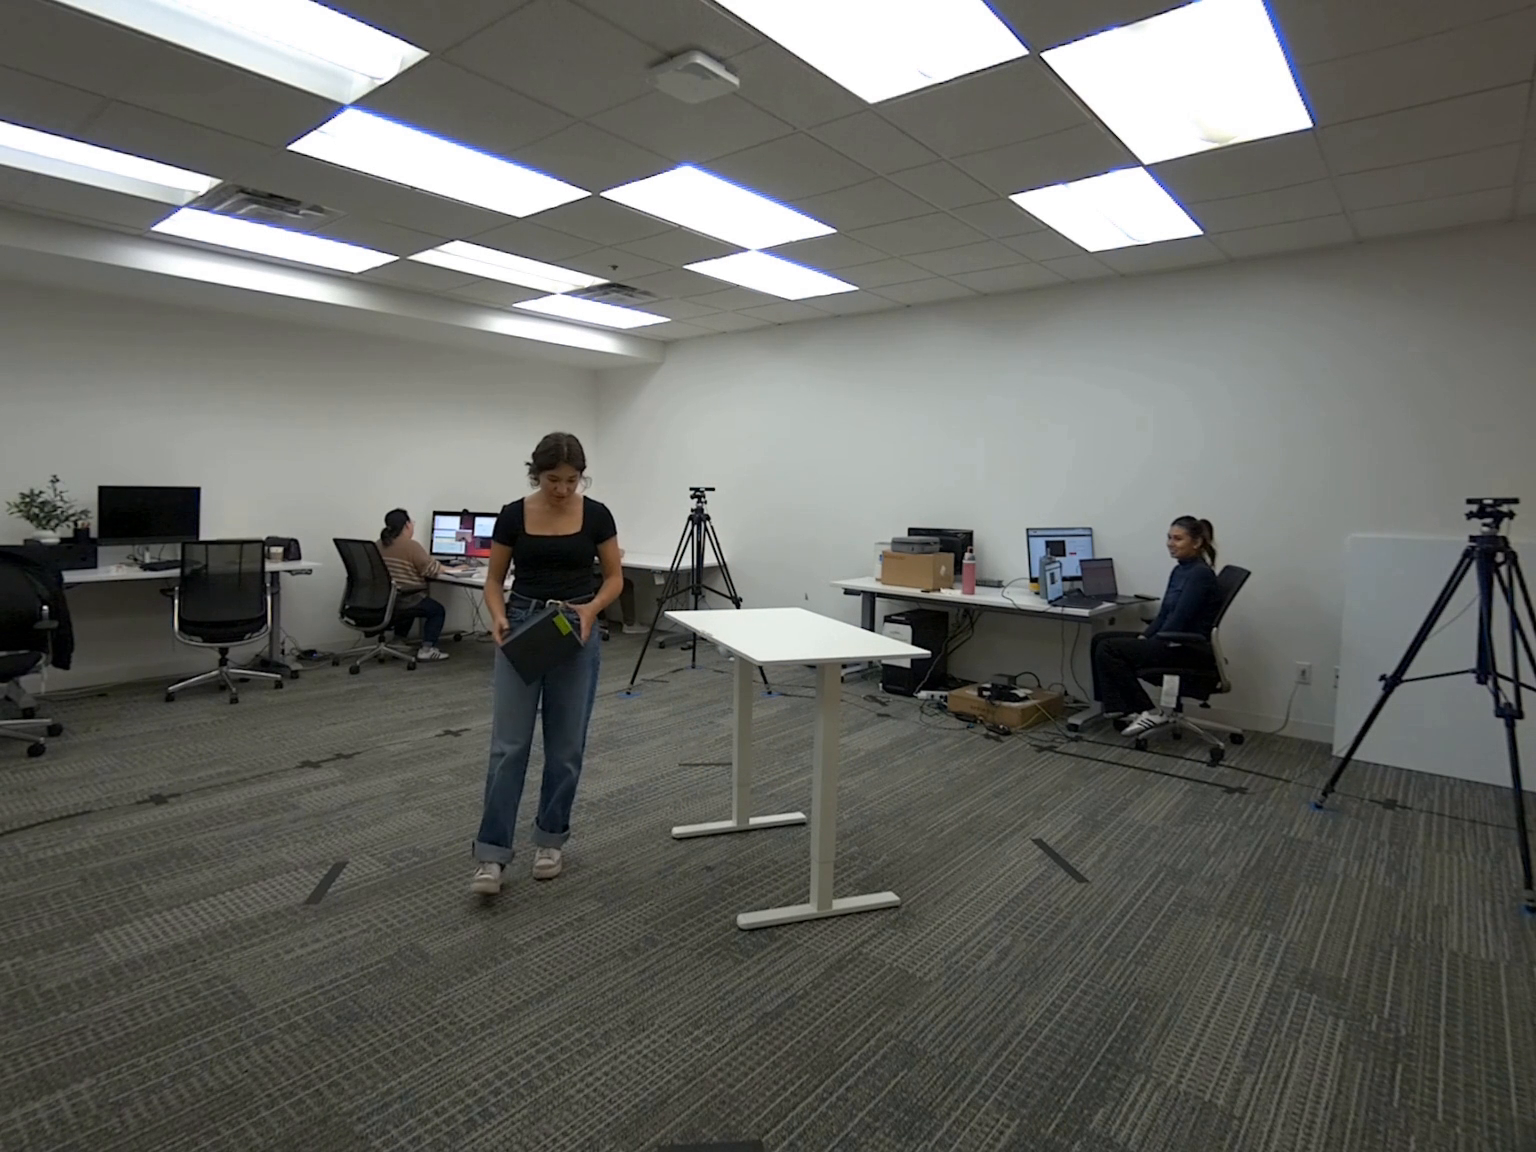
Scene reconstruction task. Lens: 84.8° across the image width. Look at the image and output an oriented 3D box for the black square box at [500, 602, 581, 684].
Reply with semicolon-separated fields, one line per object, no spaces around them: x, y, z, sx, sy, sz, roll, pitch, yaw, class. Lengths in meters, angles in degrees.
-0.767;0.214;2.816;0.216;0.155;0.231;-33;8;-11;black square box
